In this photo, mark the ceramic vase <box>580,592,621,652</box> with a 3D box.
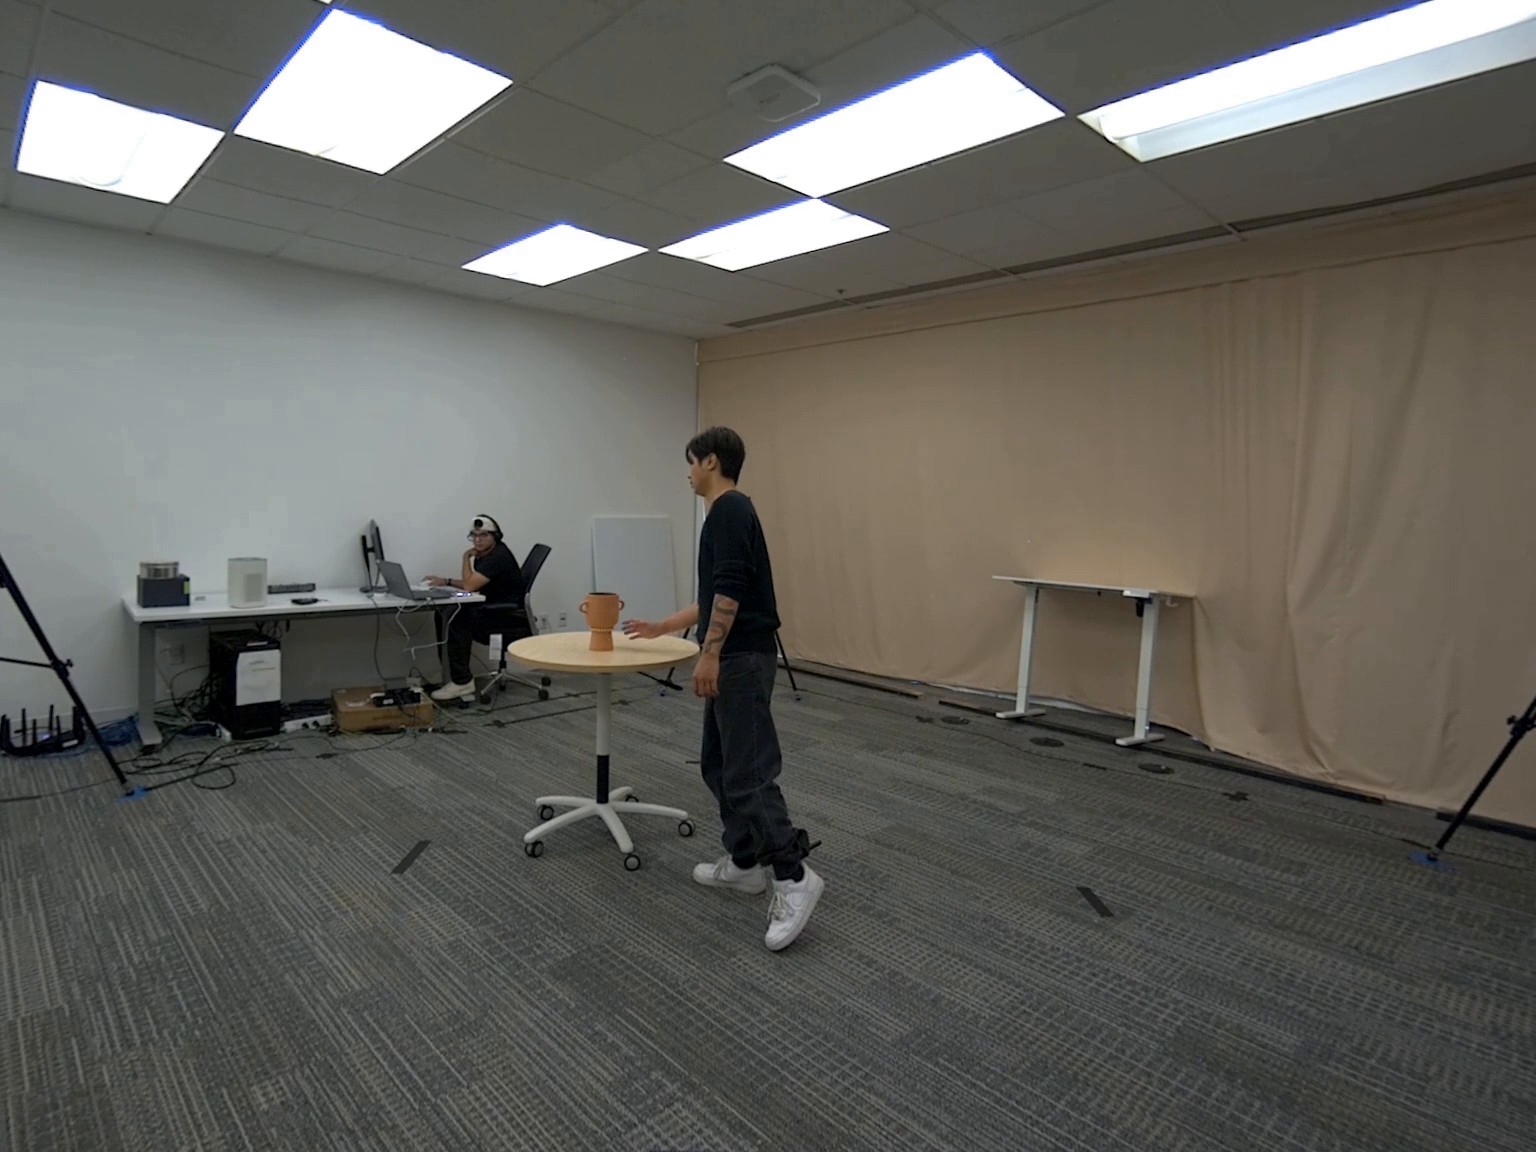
[{"bbox_3d":[-0.665,0.180,3.348,0.159,0.219,0.135,3,4,2],"label":"ceramic vase"}]
